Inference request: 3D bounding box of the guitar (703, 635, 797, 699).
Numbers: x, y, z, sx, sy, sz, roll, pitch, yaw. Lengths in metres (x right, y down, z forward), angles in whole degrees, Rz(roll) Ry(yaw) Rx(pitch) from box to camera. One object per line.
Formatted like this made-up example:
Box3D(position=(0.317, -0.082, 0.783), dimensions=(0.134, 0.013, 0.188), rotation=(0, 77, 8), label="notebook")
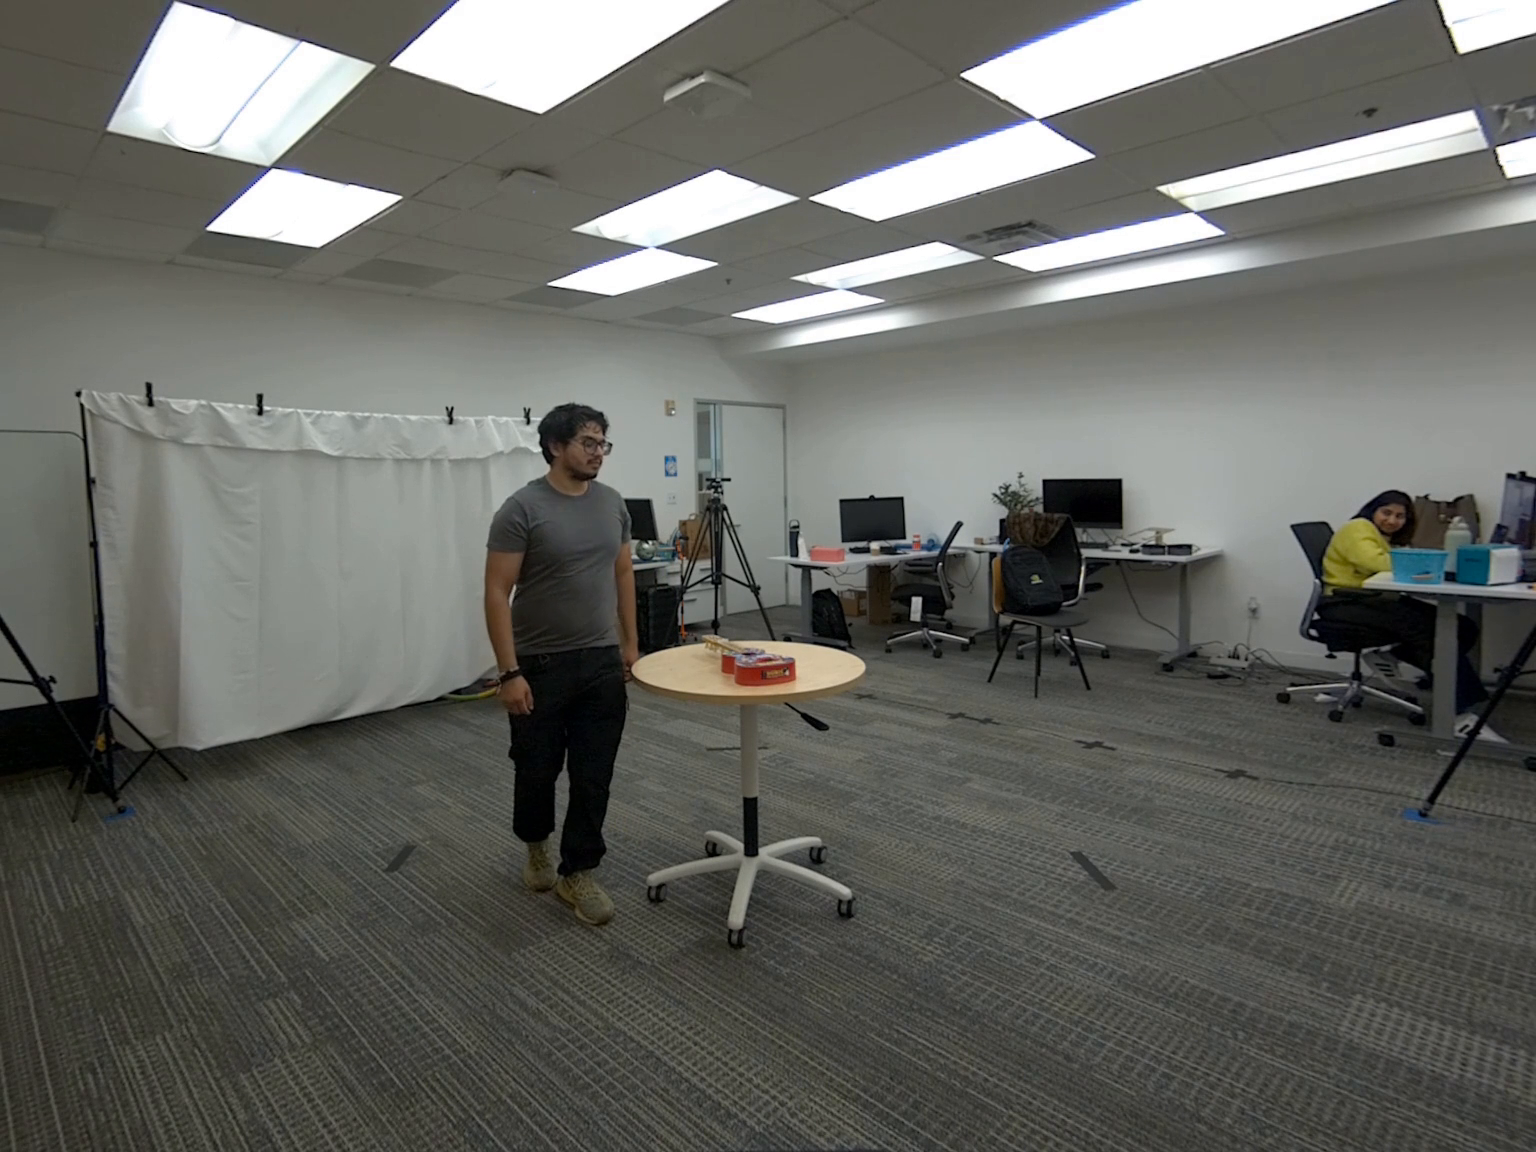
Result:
Box3D(position=(-0.071, 0.264, 2.774), dimensions=(0.190, 0.070, 0.508), rotation=(-4, 8, -18), label="guitar")
